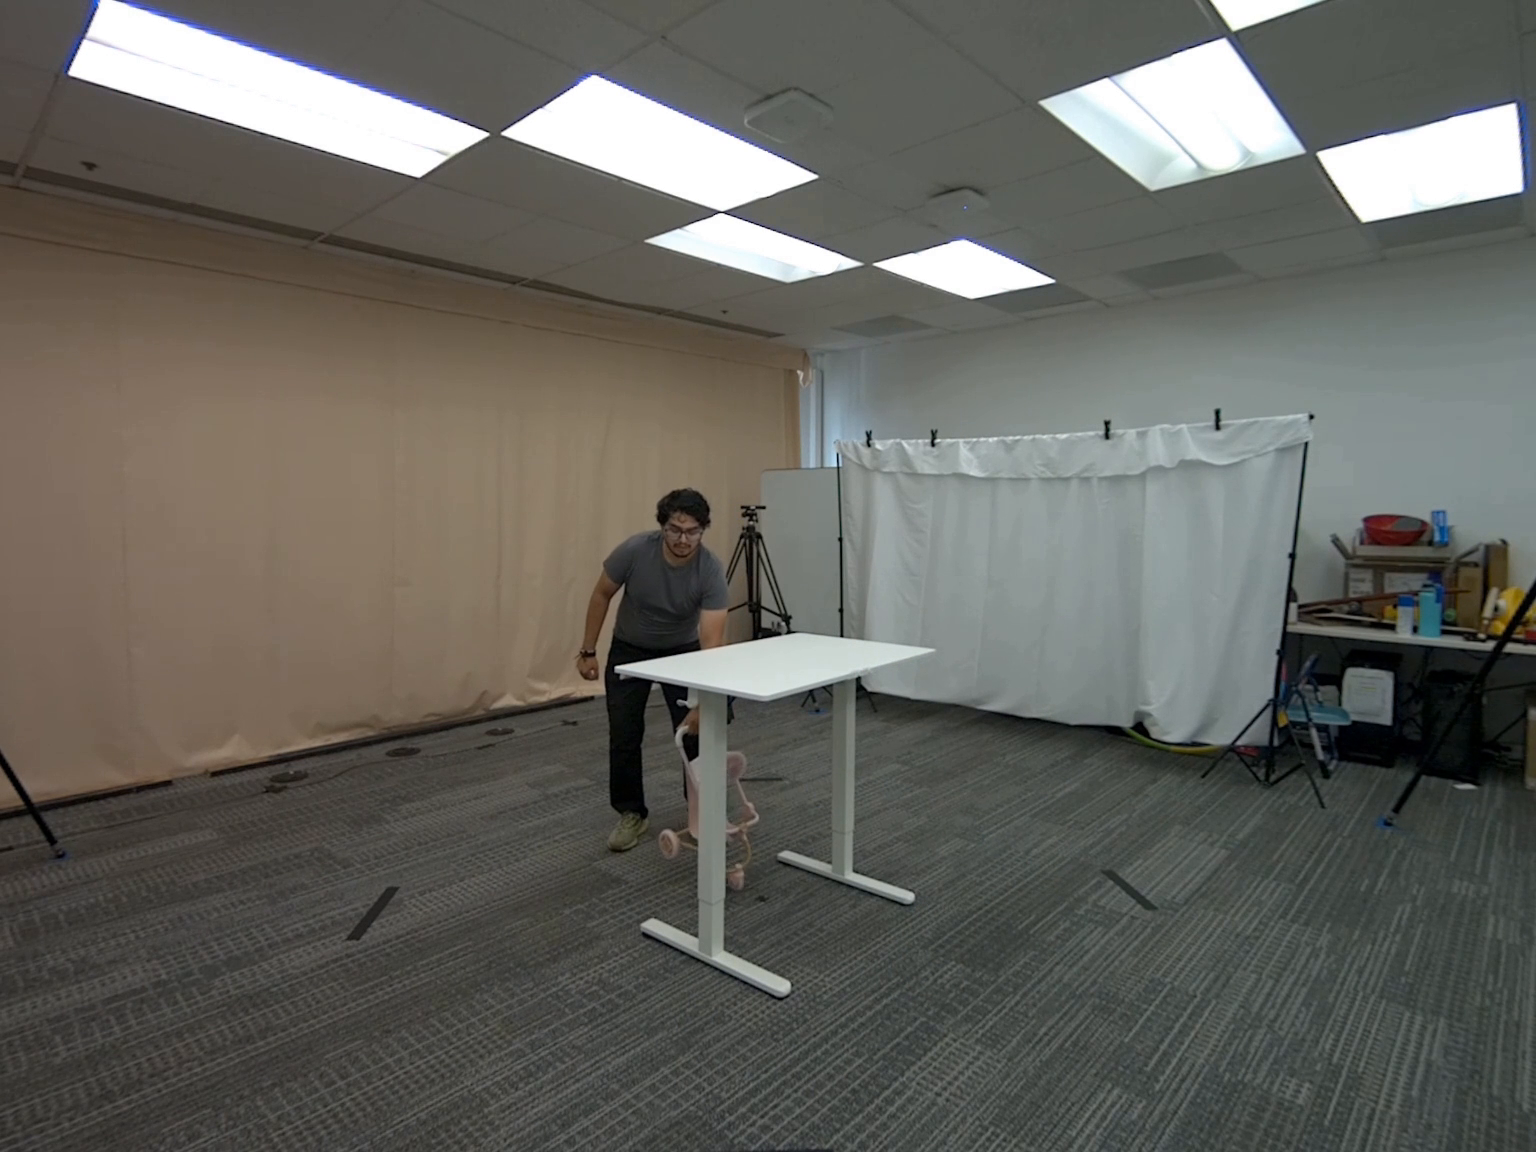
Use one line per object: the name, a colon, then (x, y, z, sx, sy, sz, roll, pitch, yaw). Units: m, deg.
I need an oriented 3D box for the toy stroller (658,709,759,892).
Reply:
toy stroller: (-0.185, 0.852, 3.094, 0.273, 0.532, 0.354, -4, 14, -42)
